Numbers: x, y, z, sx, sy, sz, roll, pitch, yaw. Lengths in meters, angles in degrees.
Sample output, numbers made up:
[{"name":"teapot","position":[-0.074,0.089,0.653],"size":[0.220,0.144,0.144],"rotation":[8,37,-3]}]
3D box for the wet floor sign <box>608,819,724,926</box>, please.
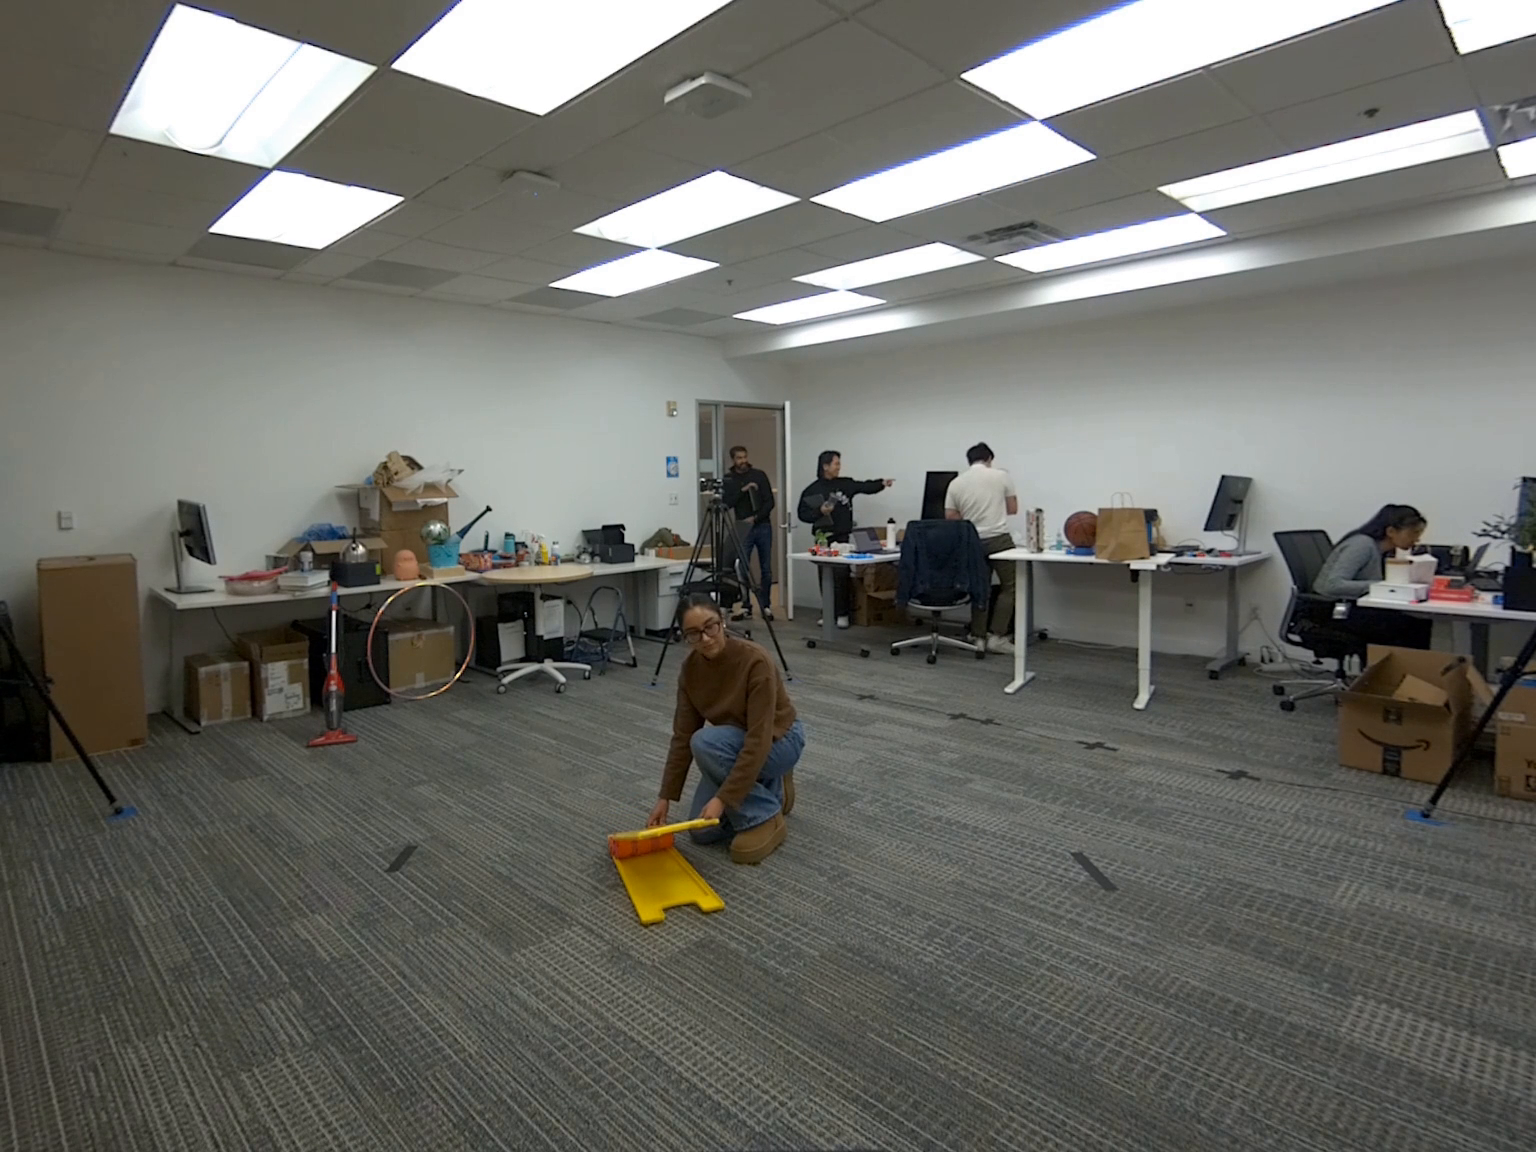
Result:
[{"name":"wet floor sign","position":[-0.400,0.982,3.034],"size":[0.277,0.292,0.654],"rotation":[-3,-6,-23]}]
